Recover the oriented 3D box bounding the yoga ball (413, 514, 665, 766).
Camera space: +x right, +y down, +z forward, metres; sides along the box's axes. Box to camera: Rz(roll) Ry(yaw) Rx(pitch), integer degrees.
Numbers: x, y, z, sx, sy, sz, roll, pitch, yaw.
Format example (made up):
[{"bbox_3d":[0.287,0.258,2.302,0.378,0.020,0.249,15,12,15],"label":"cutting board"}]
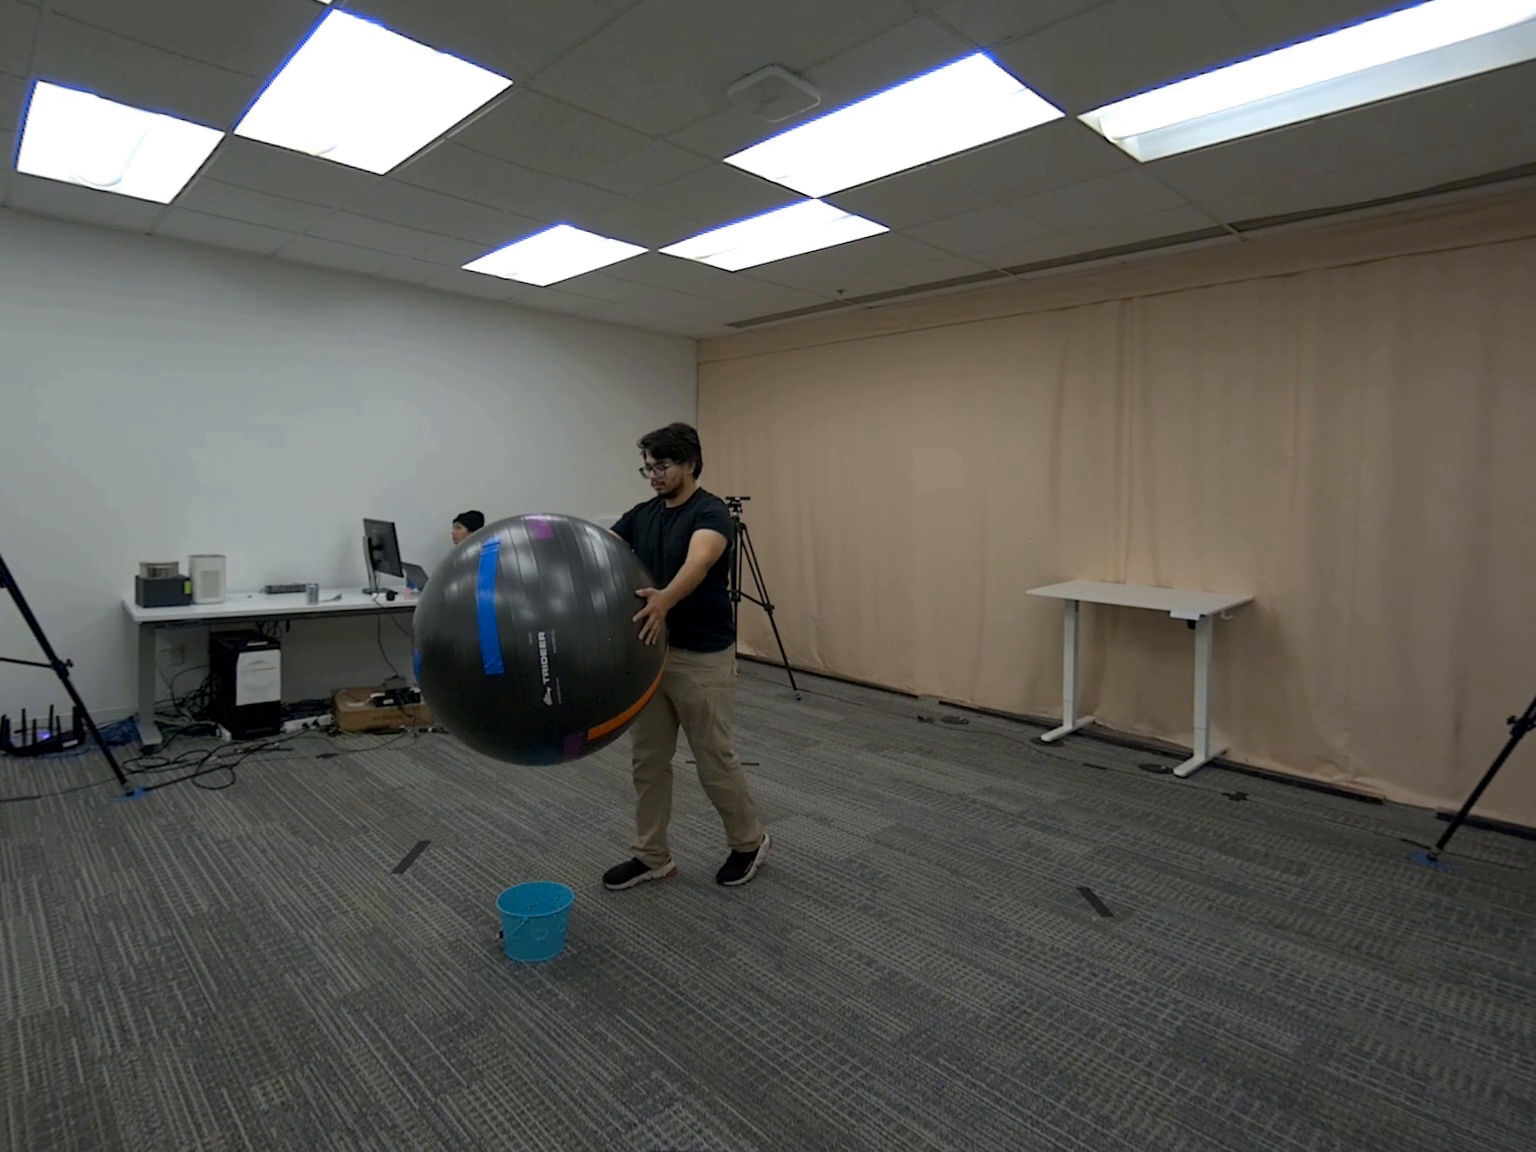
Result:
[{"bbox_3d":[-0.695,0.196,2.562,0.757,0.756,0.761,1,4,-1],"label":"yoga ball"}]
